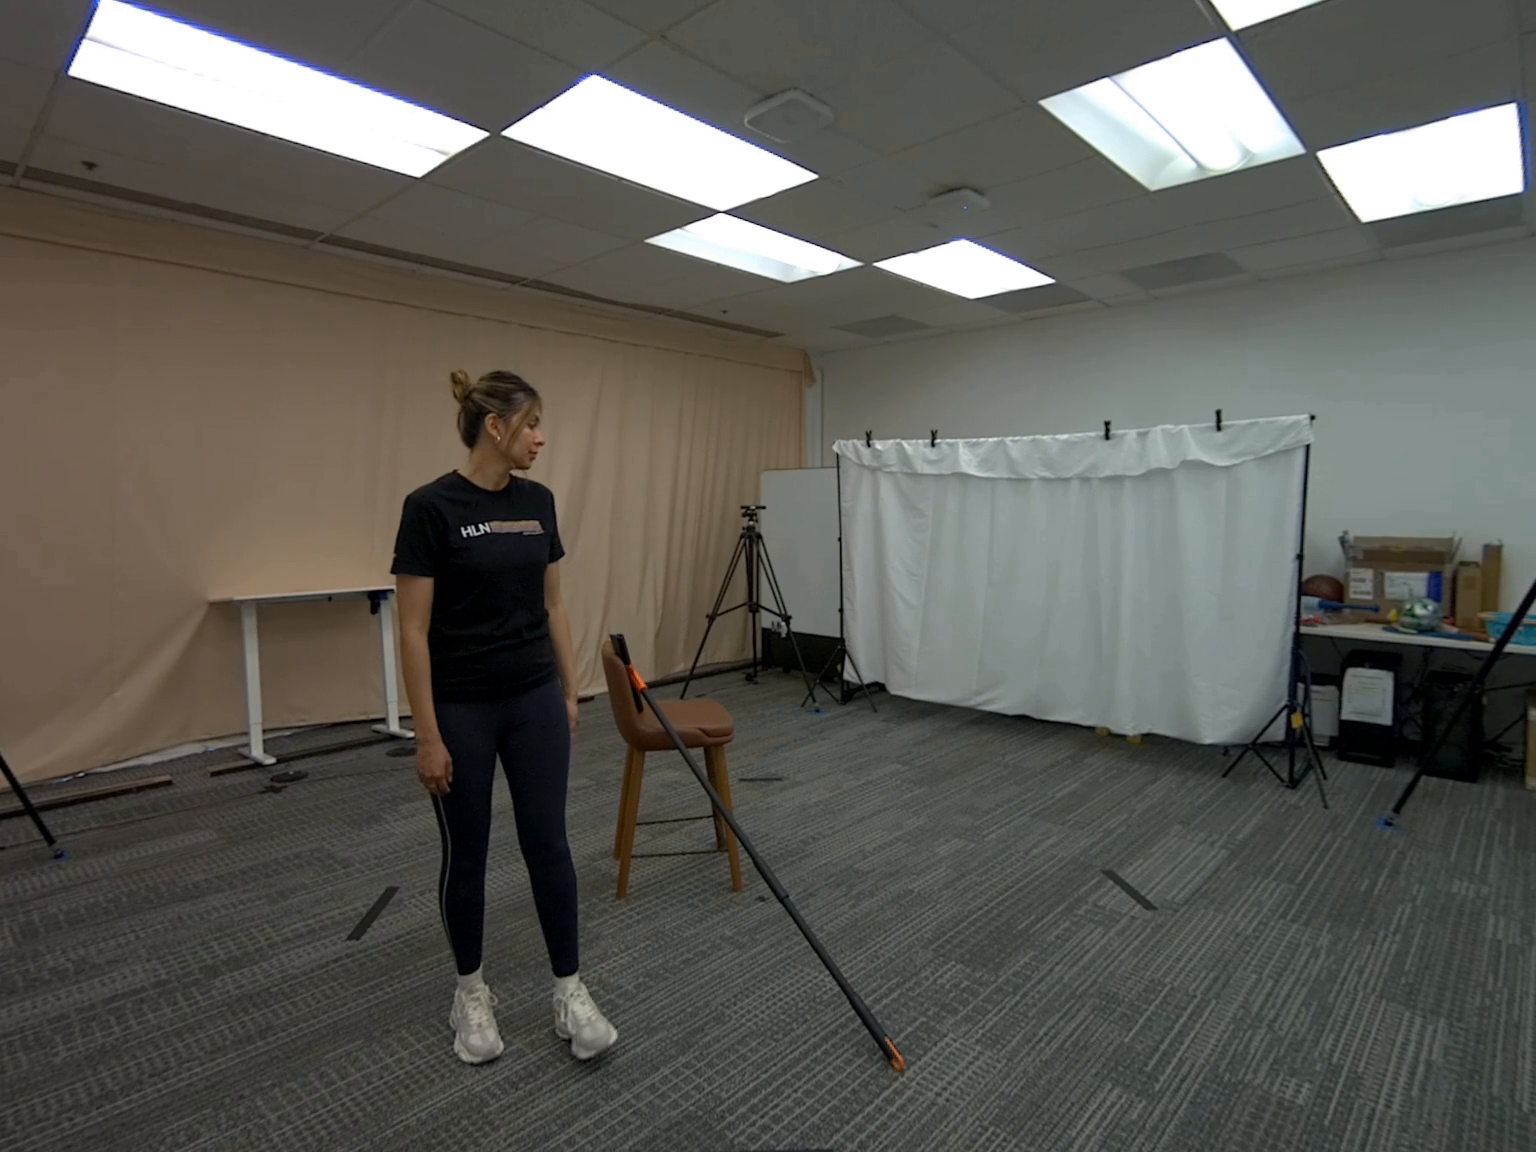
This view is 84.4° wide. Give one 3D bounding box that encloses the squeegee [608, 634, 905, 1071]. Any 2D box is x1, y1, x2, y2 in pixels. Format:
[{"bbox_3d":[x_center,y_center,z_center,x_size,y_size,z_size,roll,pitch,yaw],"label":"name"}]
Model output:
[{"bbox_3d":[-0.078,0.766,2.601,0.052,0.429,1.593,-23,45,-24],"label":"squeegee"}]
